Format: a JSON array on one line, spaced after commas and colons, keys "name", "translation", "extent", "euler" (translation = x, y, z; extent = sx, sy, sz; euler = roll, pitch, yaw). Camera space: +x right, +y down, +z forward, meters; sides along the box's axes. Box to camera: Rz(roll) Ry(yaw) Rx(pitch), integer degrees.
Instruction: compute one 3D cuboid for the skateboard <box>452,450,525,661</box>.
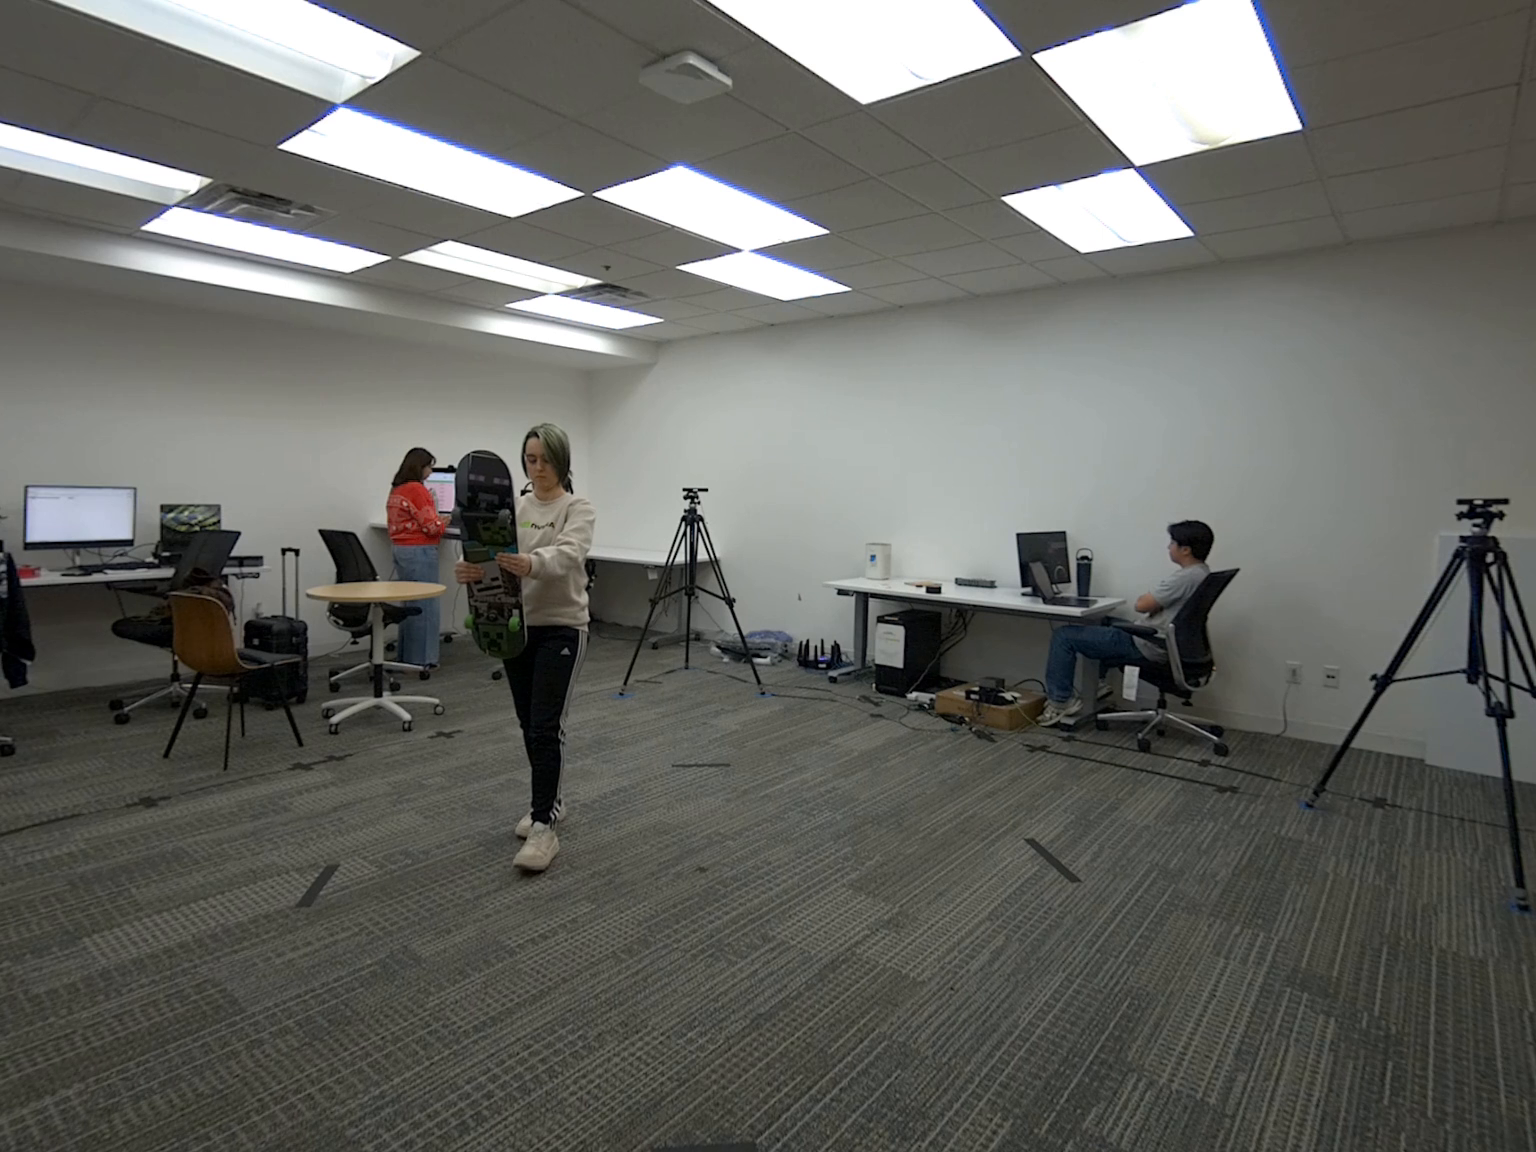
[{"name": "skateboard", "translation": [-0.947, -0.038, 2.811], "extent": [0.194, 0.770, 0.112], "euler": [8, 26, 2]}]
